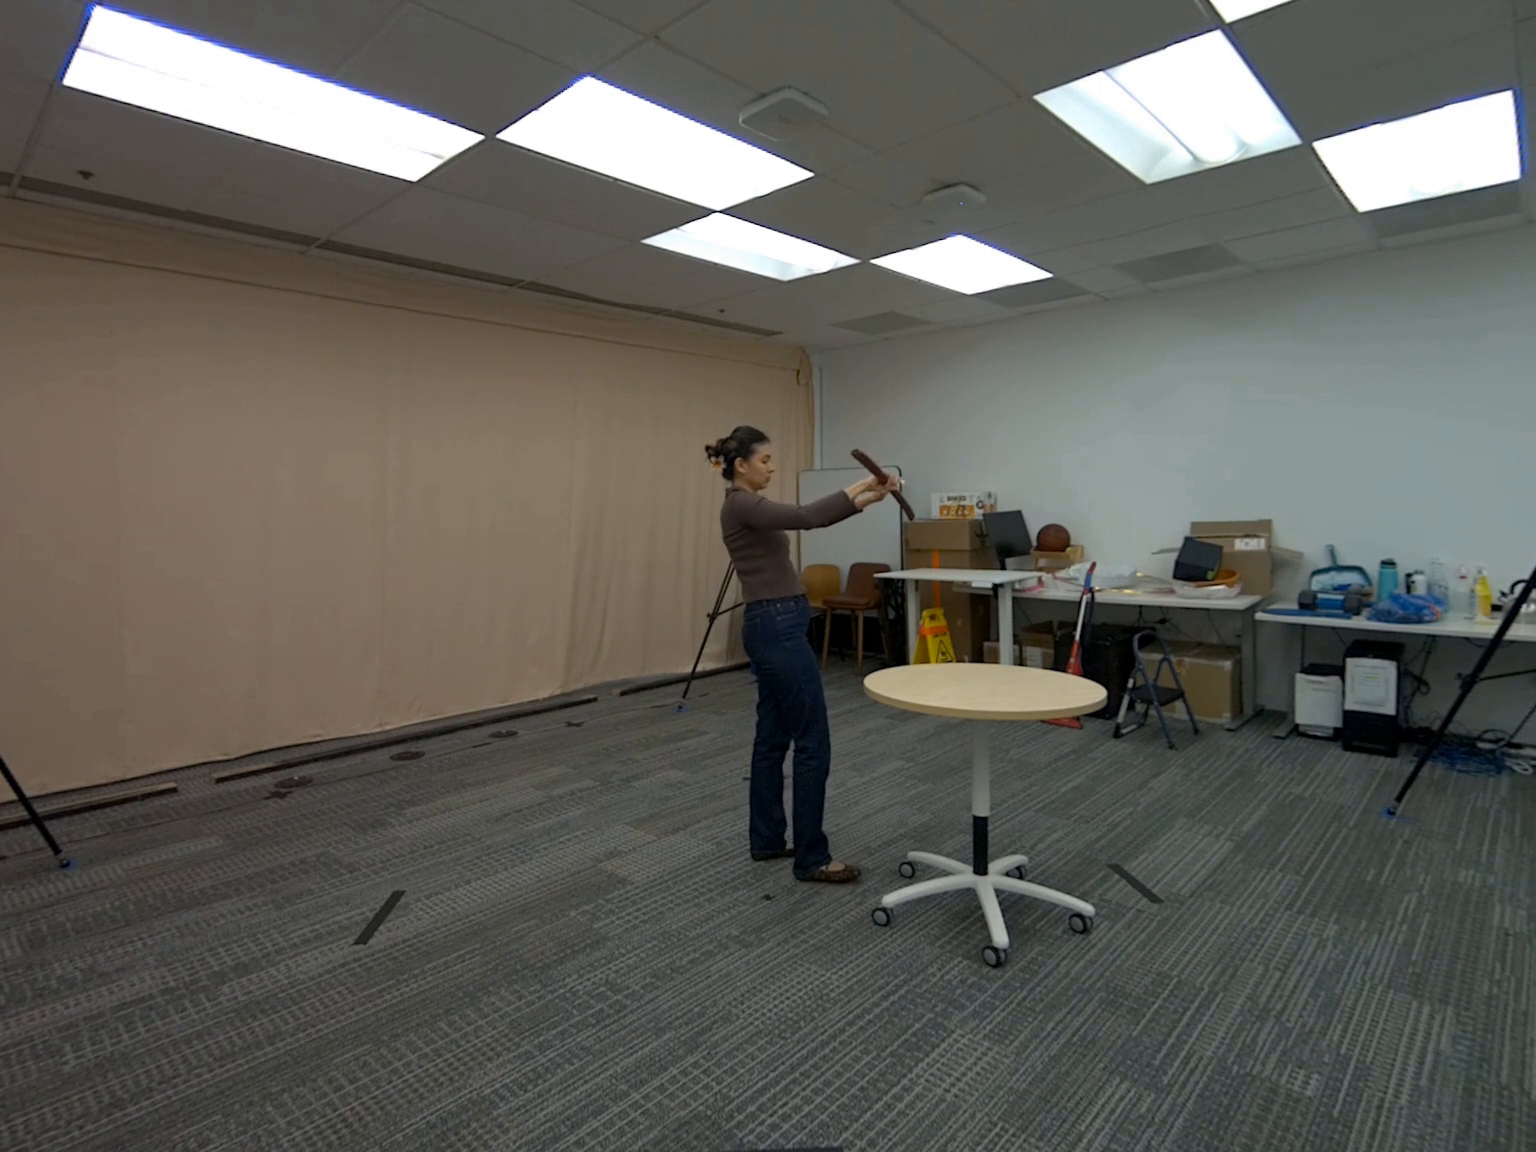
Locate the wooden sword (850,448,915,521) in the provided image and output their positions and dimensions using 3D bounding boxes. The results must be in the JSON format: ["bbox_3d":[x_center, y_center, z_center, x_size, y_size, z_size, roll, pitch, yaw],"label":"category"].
[{"bbox_3d":[0.474,-0.319,3.154,0.024,0.052,0.995,-21,-17,17],"label":"wooden sword"}]
